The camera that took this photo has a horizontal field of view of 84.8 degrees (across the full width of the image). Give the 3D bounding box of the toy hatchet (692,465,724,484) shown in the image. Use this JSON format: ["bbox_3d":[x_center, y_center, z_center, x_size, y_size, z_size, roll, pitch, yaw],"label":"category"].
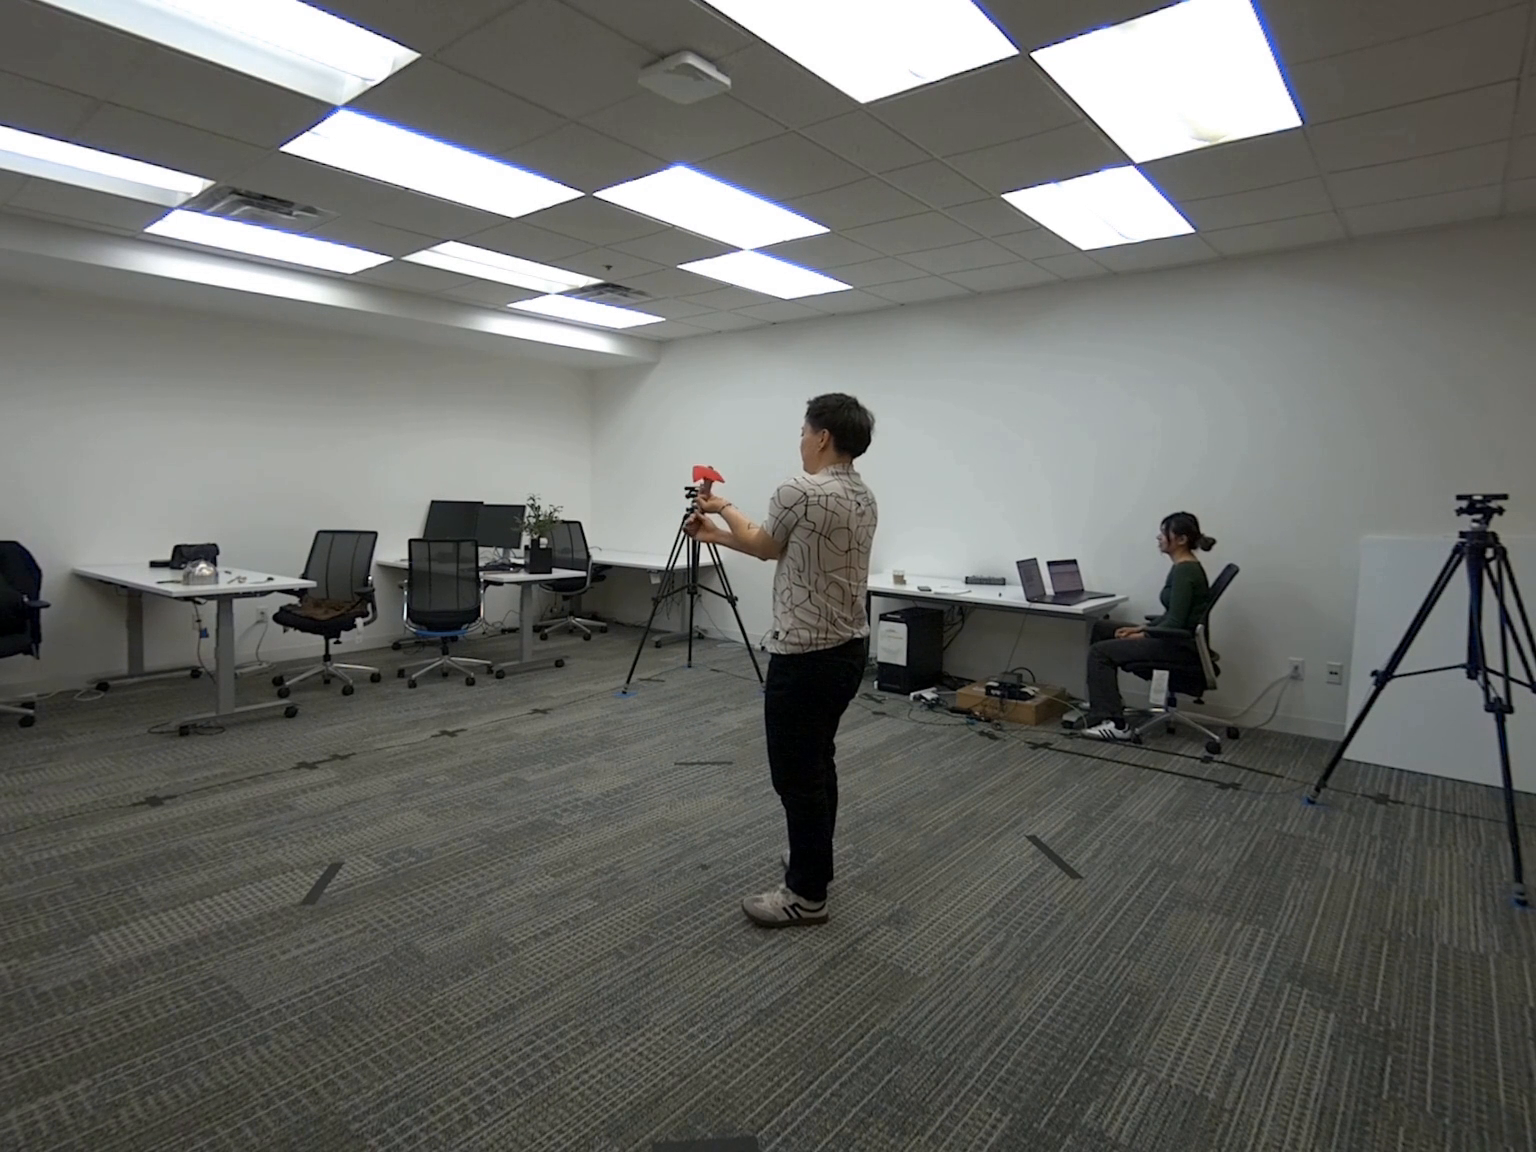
[{"bbox_3d":[-0.259,-0.279,2.919,0.127,0.272,0.030,40,-33,-21],"label":"toy hatchet"}]
